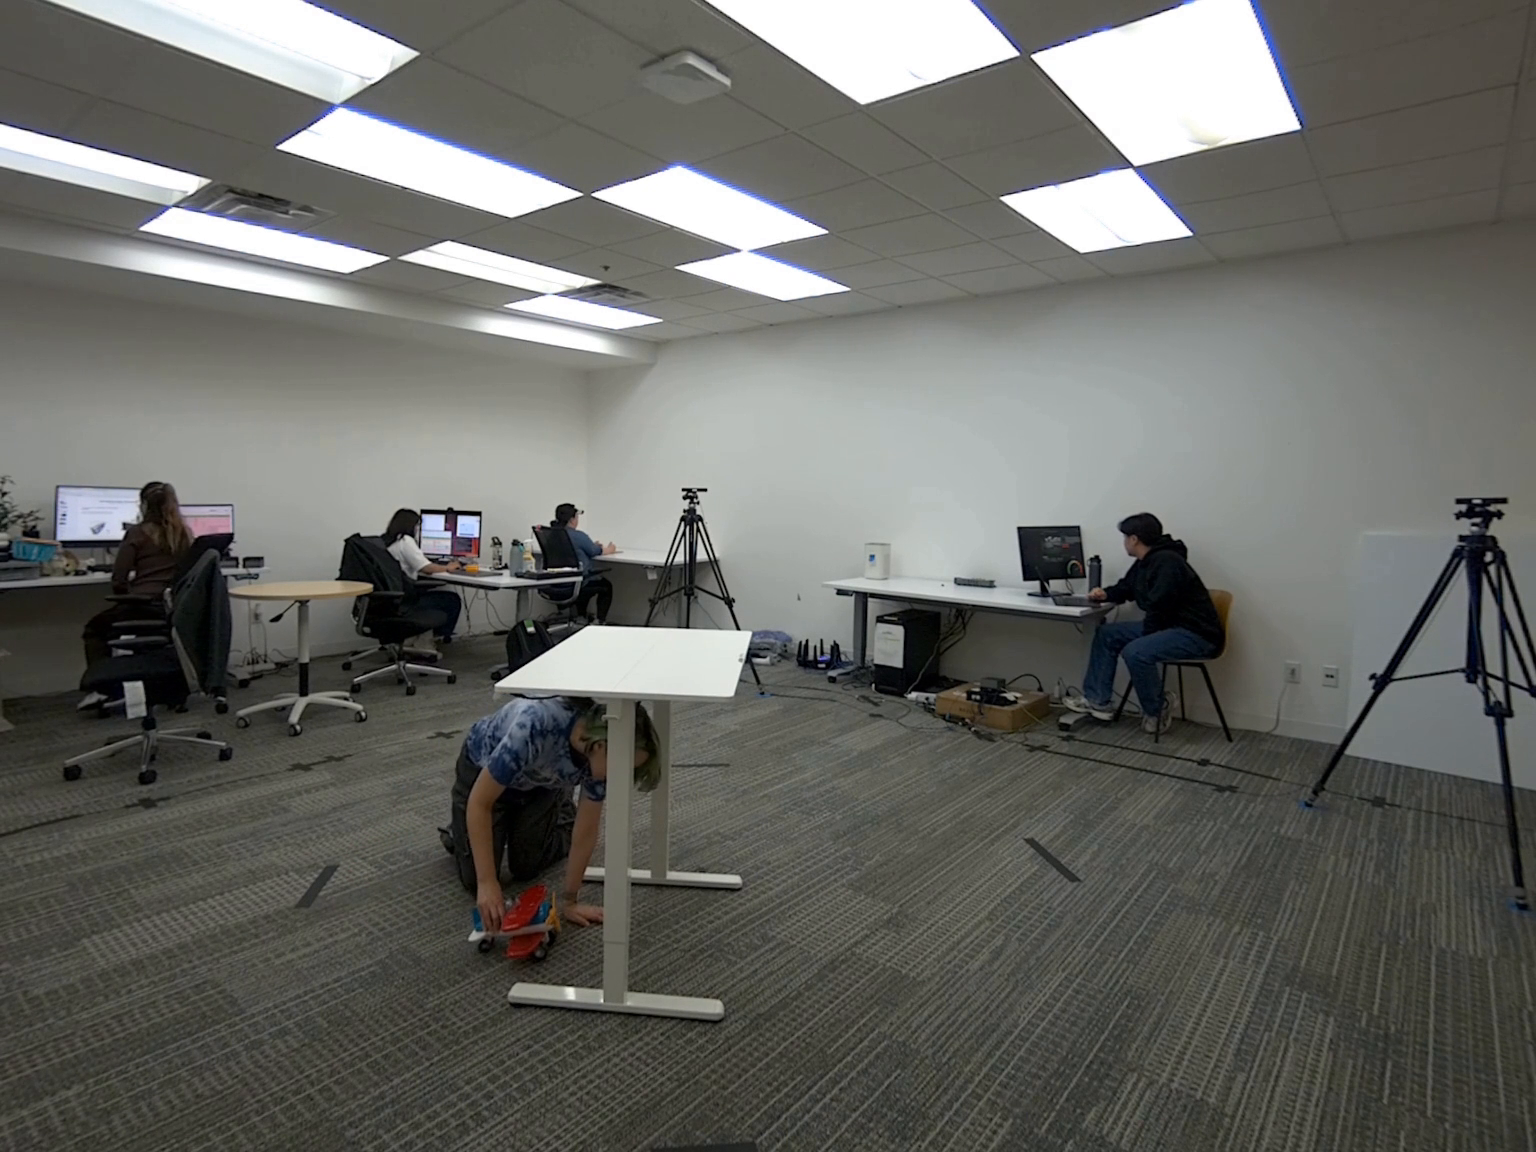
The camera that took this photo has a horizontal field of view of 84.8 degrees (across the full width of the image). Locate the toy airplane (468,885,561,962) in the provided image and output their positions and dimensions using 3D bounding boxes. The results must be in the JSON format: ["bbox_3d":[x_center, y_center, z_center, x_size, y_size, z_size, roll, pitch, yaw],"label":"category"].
[{"bbox_3d":[-0.756,1.046,2.516,0.253,0.156,0.258,0,5,-24],"label":"toy airplane"}]
